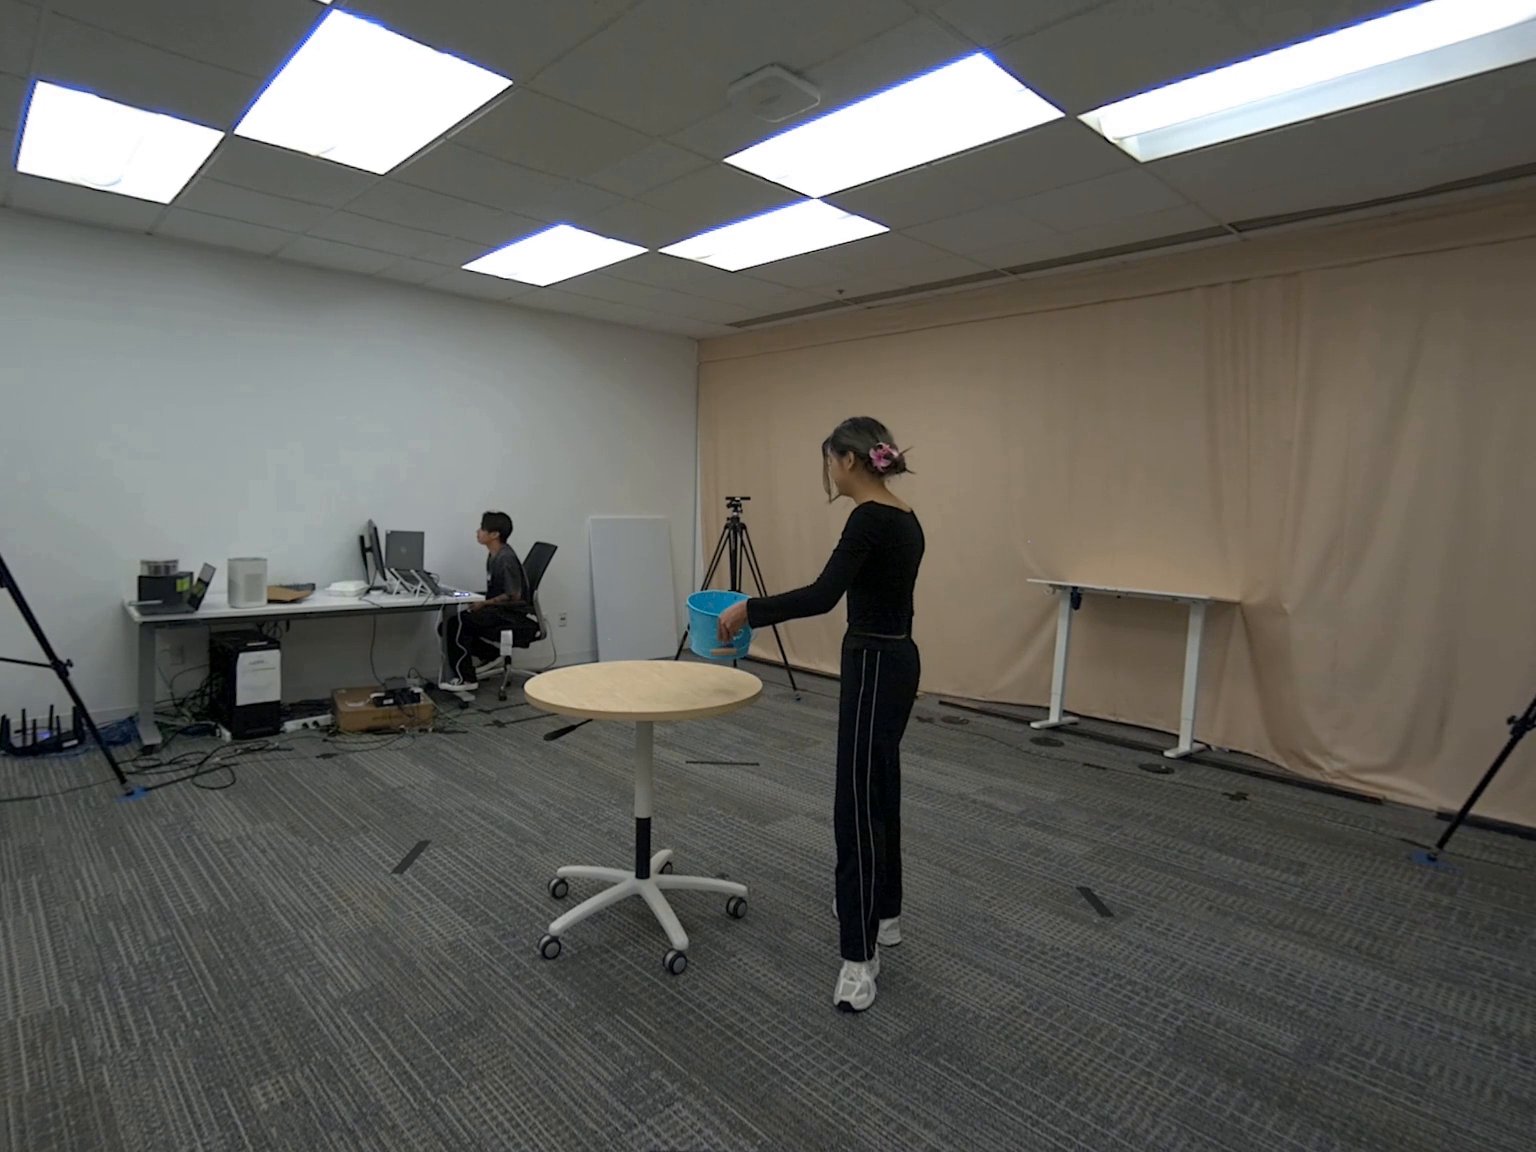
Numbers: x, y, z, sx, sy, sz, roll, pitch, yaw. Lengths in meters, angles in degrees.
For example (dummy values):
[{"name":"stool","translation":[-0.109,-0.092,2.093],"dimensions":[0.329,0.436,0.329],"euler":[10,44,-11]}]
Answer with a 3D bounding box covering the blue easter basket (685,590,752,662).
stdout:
[{"name":"blue easter basket","translation":[-0.140,0.160,2.590],"dimensions":[0.243,0.154,0.246],"euler":[5,15,-3]}]
